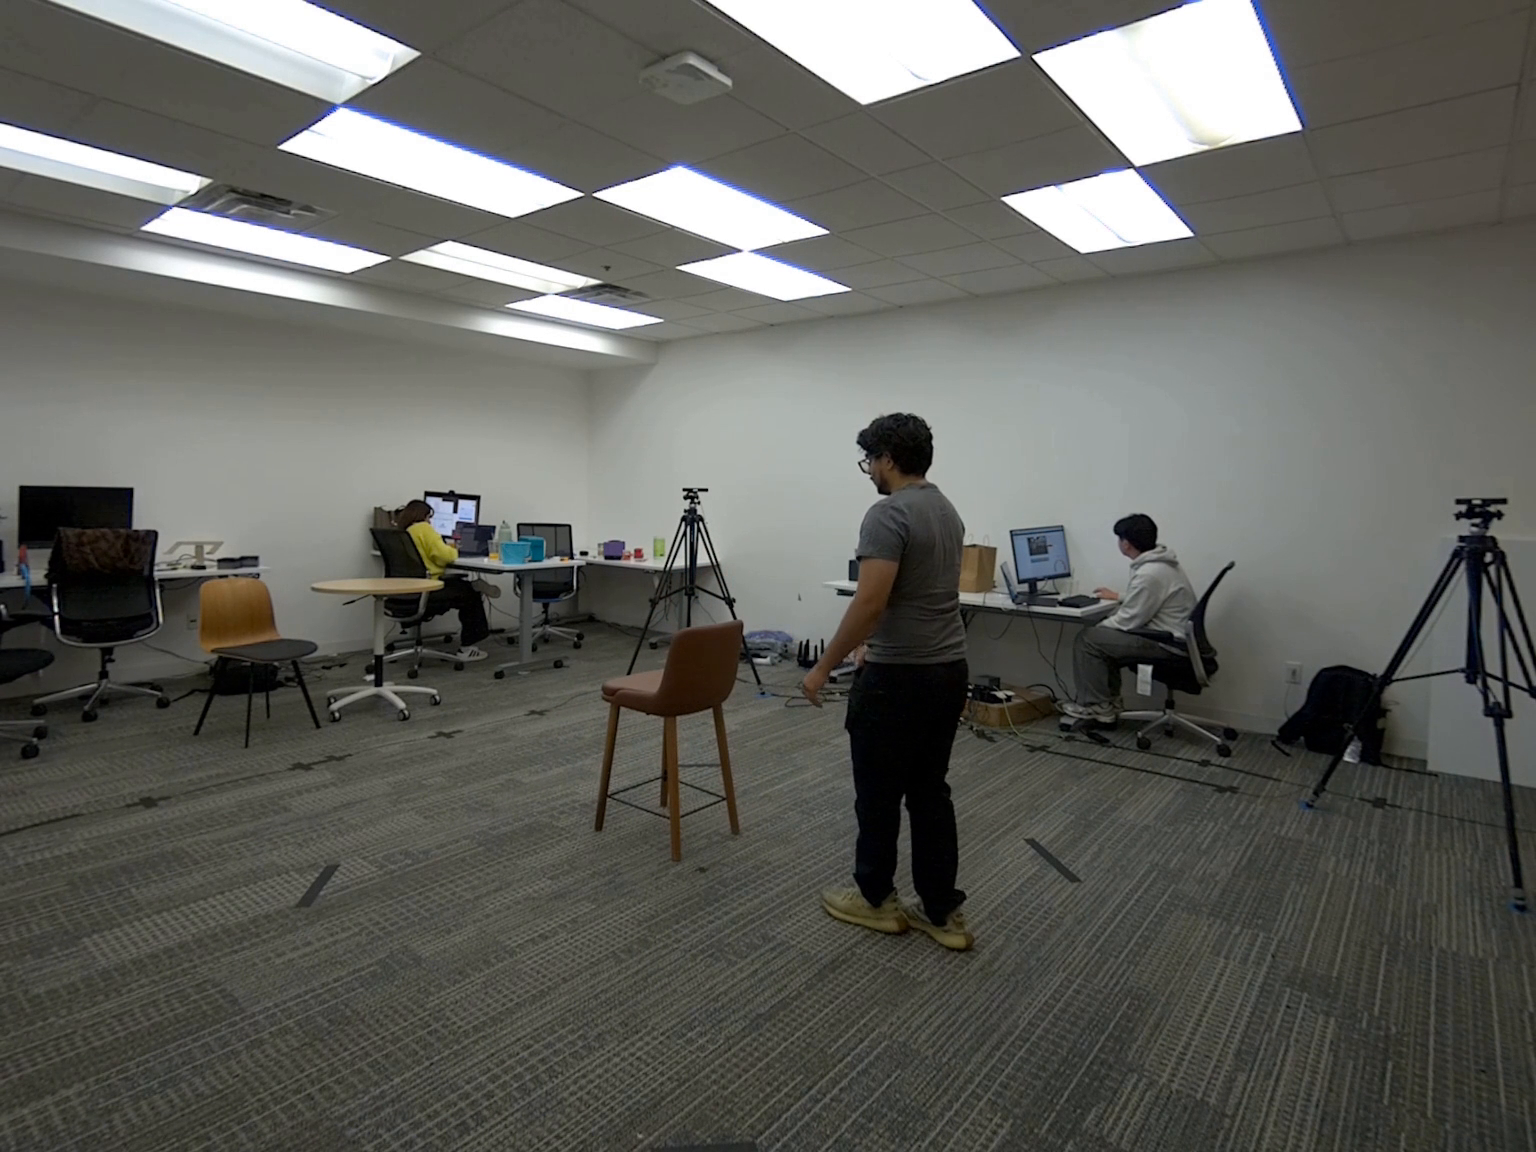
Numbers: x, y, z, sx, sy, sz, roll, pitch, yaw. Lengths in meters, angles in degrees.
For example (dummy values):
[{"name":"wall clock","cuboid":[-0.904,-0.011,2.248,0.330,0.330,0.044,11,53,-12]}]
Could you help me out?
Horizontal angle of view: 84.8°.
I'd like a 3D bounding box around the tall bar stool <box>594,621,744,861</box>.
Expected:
[{"name":"tall bar stool","cuboid":[-0.402,0.600,3.431,0.484,0.887,0.443,6,5,39]}]
